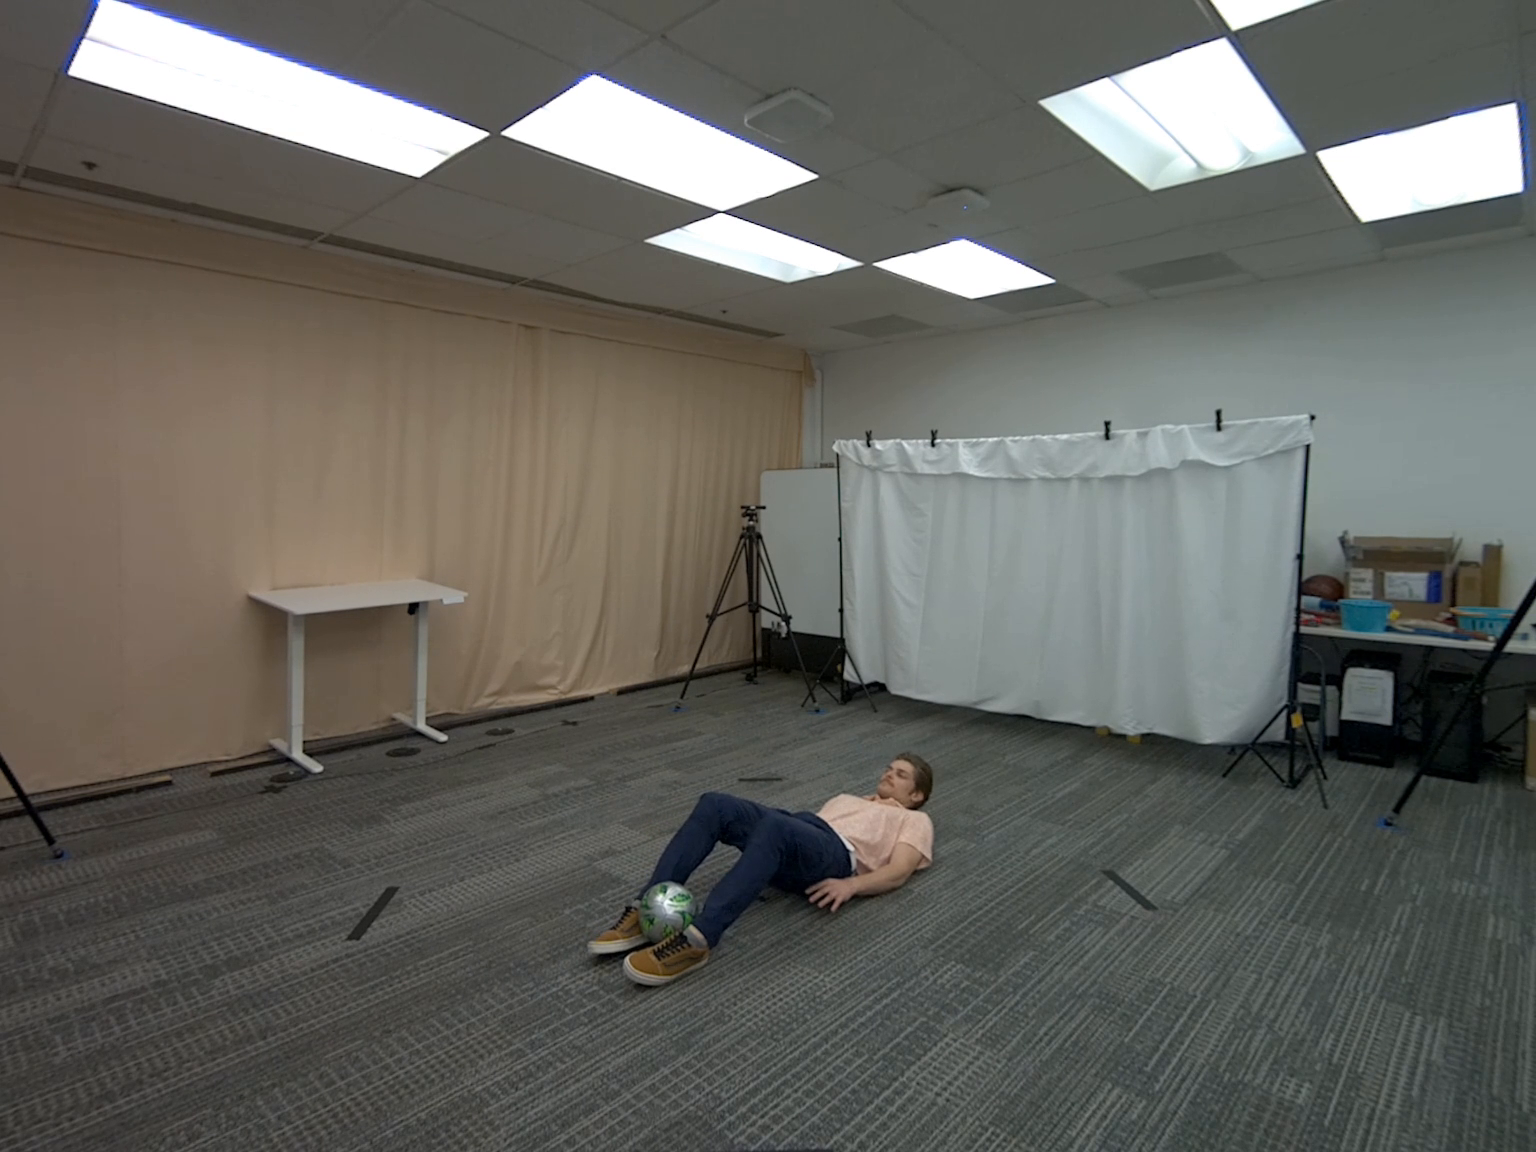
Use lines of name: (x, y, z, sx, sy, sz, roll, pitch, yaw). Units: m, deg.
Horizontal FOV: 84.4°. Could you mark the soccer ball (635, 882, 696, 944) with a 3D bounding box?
soccer ball: (-0.309, 1.053, 2.628, 0.187, 0.187, 0.188, 0, 4, -2)
